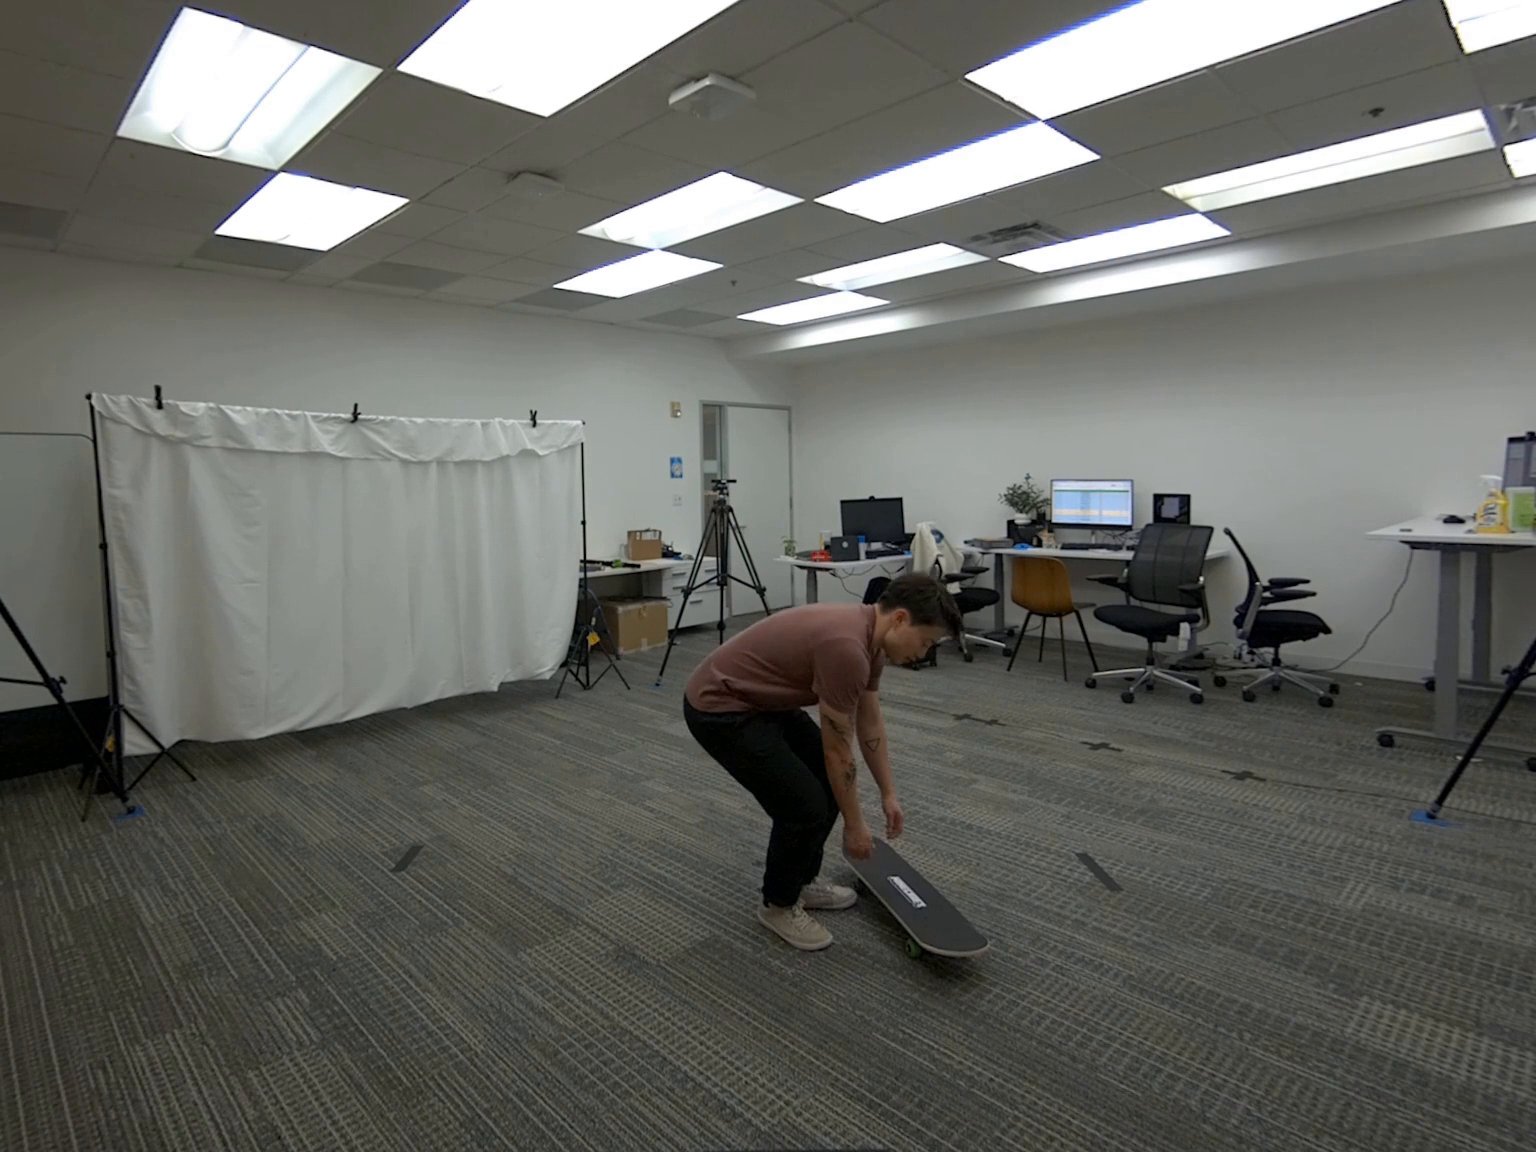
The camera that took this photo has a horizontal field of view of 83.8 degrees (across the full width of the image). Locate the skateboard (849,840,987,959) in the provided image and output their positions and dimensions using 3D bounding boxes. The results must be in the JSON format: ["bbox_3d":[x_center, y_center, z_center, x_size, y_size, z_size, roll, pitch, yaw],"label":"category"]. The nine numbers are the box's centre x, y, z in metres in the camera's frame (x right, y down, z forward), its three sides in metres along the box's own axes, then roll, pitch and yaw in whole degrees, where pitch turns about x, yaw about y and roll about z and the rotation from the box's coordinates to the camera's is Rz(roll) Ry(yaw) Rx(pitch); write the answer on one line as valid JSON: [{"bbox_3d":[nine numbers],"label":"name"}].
[{"bbox_3d":[0.435,1.022,2.699,0.191,0.110,0.800,-3,7,-16],"label":"skateboard"}]
